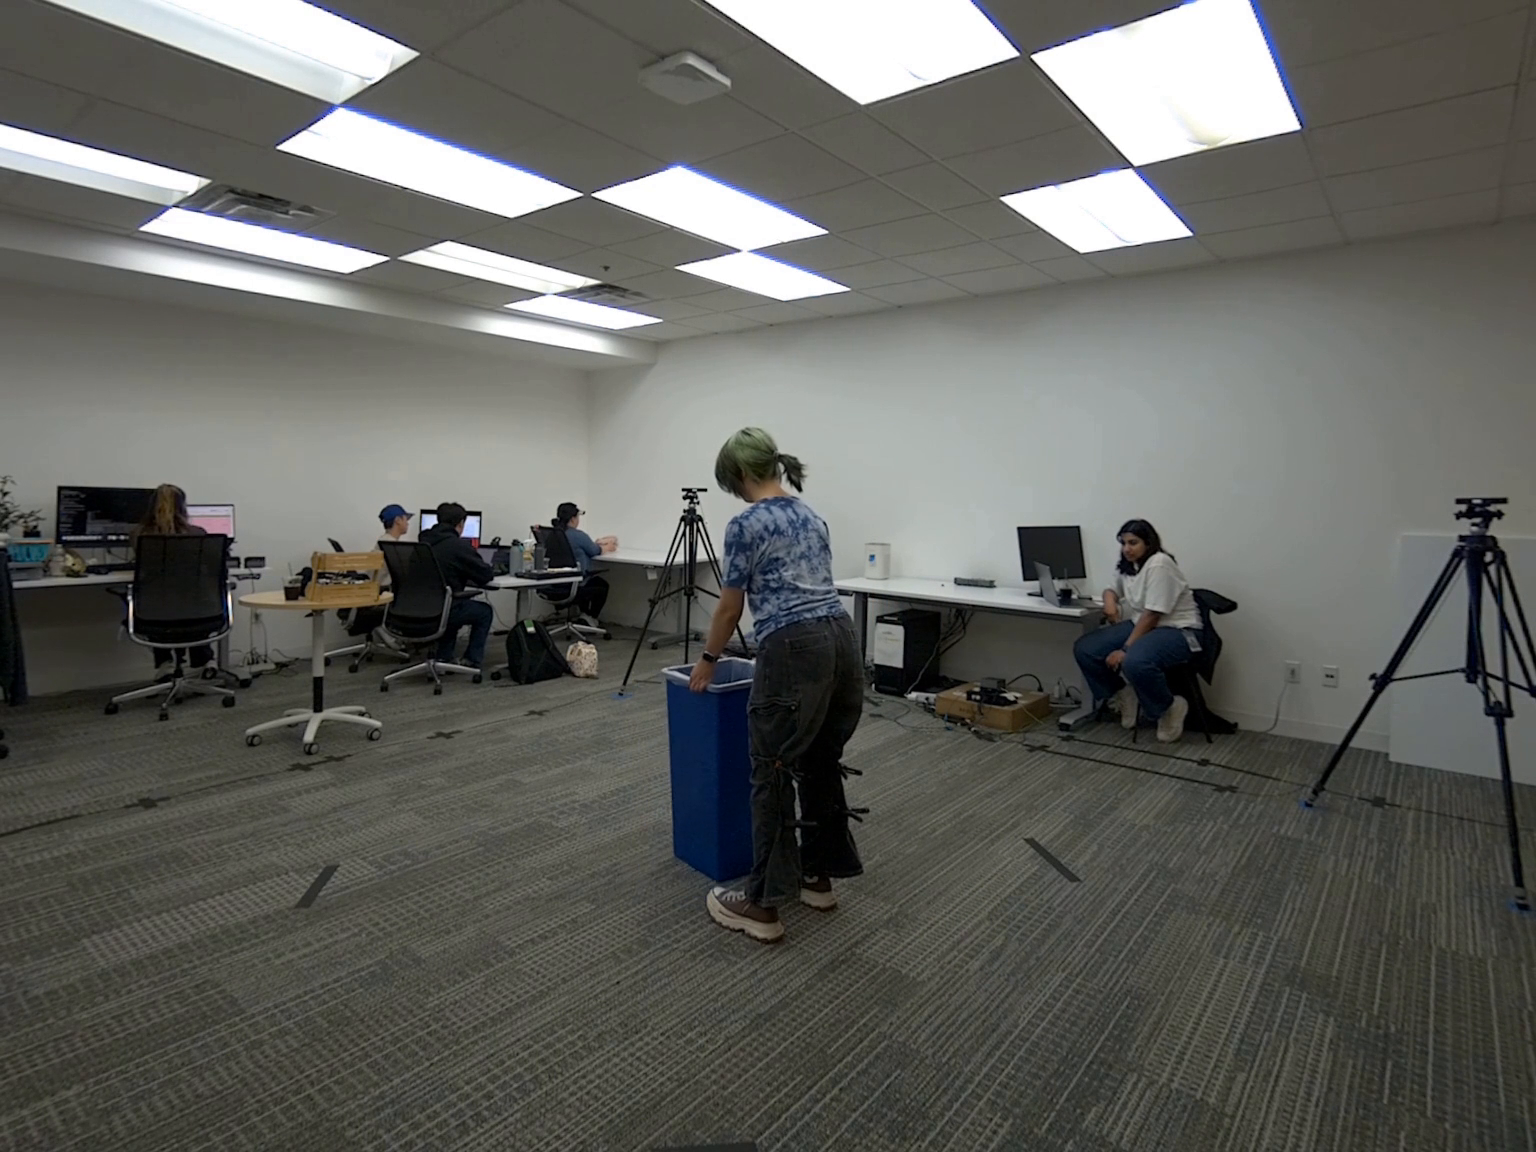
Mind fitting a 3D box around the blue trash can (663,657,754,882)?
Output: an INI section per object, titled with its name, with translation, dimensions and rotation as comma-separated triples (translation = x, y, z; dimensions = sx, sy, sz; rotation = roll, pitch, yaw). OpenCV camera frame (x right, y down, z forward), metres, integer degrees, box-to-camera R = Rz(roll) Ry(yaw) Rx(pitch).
[blue trash can]
translation = -0.169, 0.705, 3.177
dimensions = 0.363, 0.712, 0.390
rotation = -2, 4, -38
